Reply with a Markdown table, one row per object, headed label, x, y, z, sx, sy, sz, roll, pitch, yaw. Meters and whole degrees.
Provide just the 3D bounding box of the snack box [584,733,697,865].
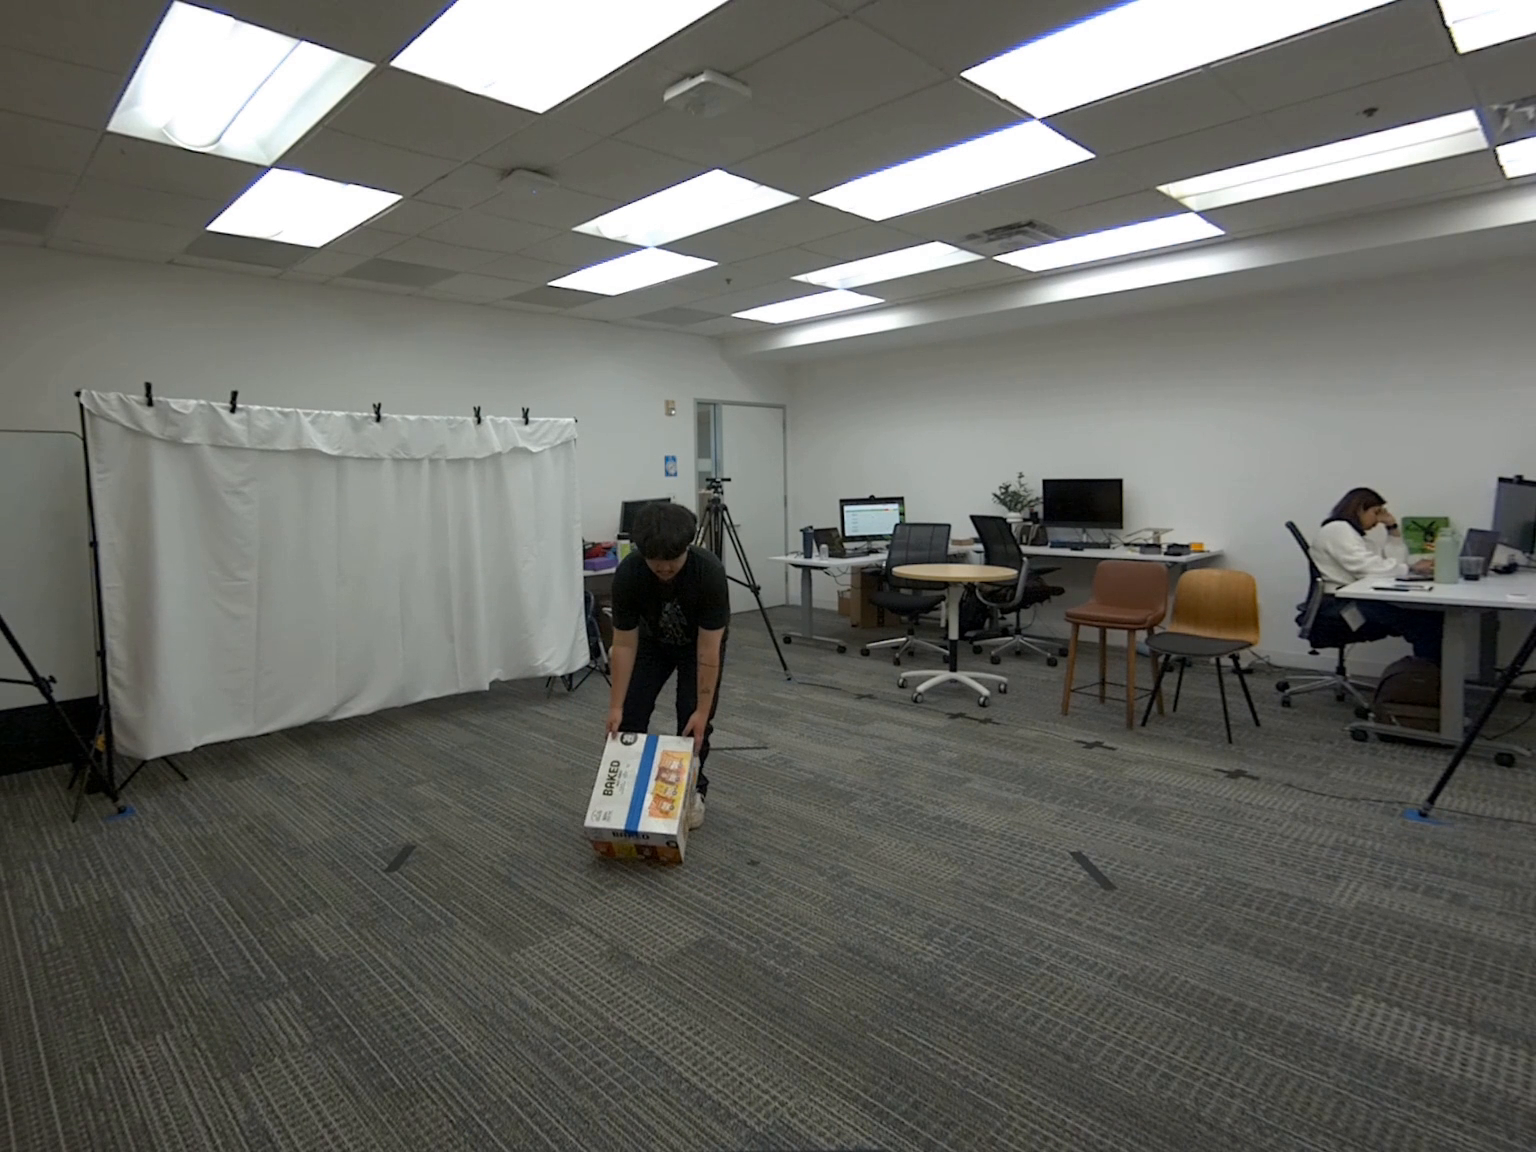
| label | x | y | z | sx | sy | sz | roll | pitch | yaw |
| --- | --- | --- | --- | --- | --- | --- | --- | --- | --- |
| snack box | -0.467 | 0.828 | 3.227 | 0.343 | 0.199 | 0.414 | 2 | 45 | 8 |
